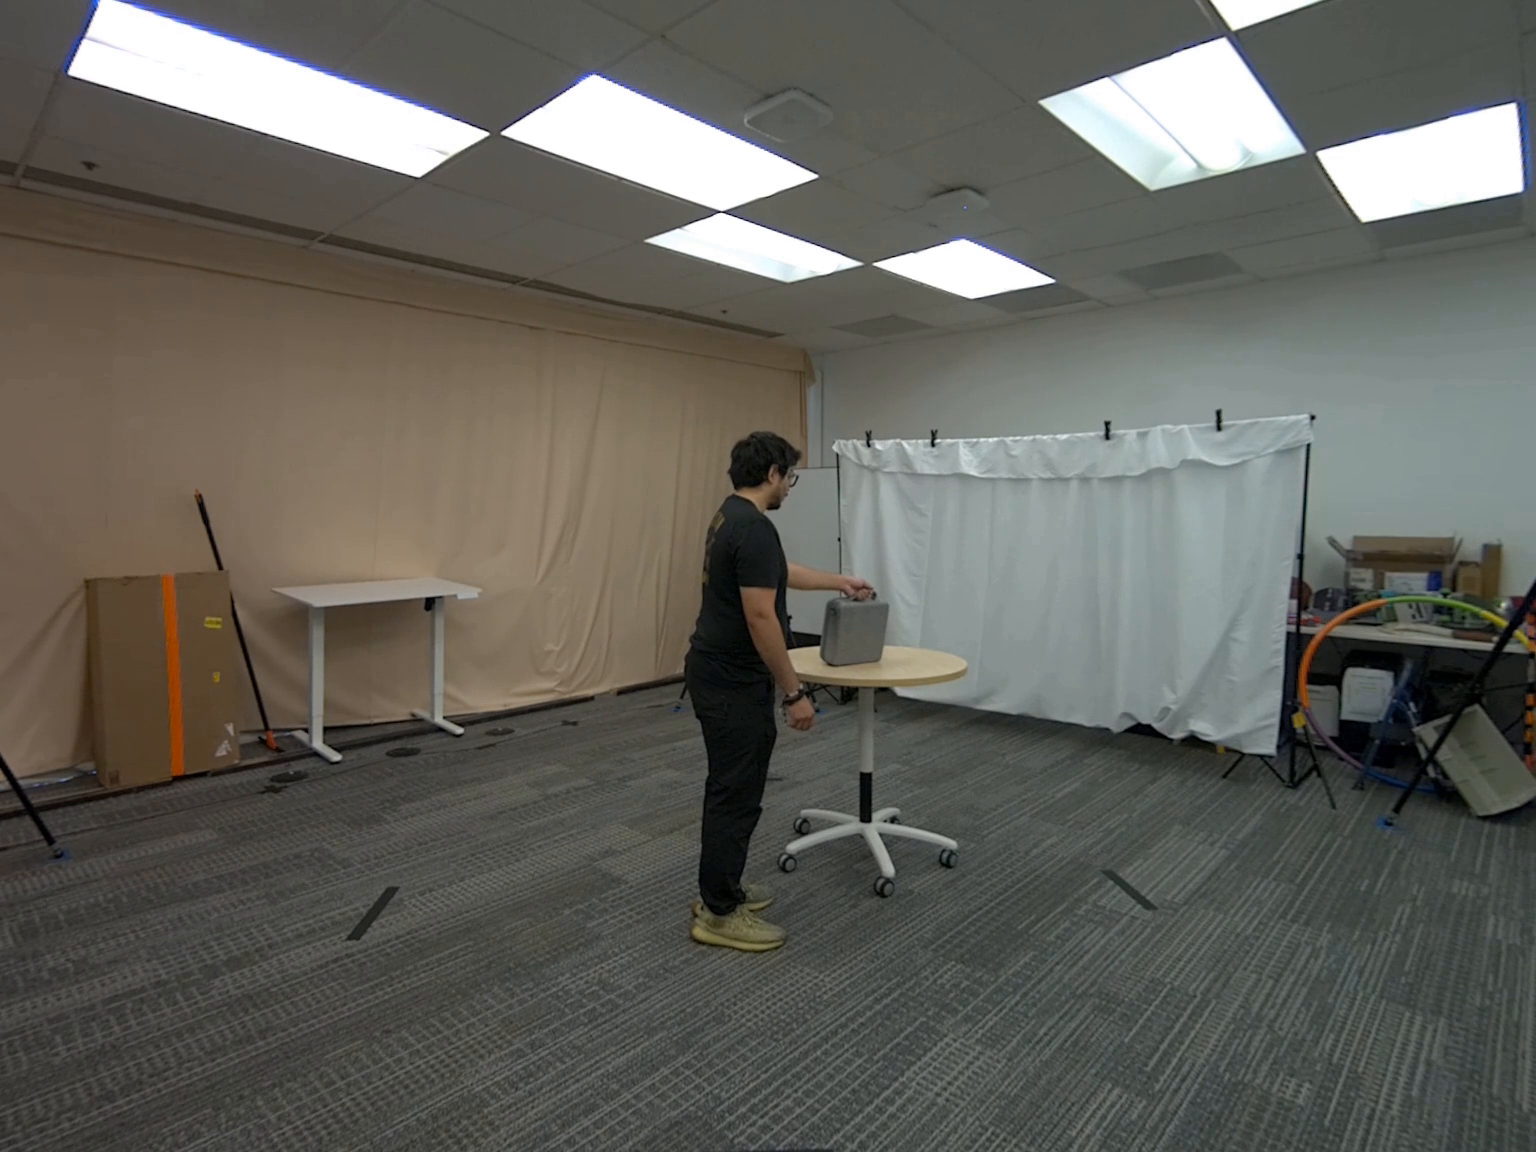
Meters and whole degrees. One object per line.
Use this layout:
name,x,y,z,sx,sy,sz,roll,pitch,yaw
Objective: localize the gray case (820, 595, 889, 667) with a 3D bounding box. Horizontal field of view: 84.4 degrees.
gray case,0.338,0.205,3.243,0.250,0.259,0.108,-1,11,-30
